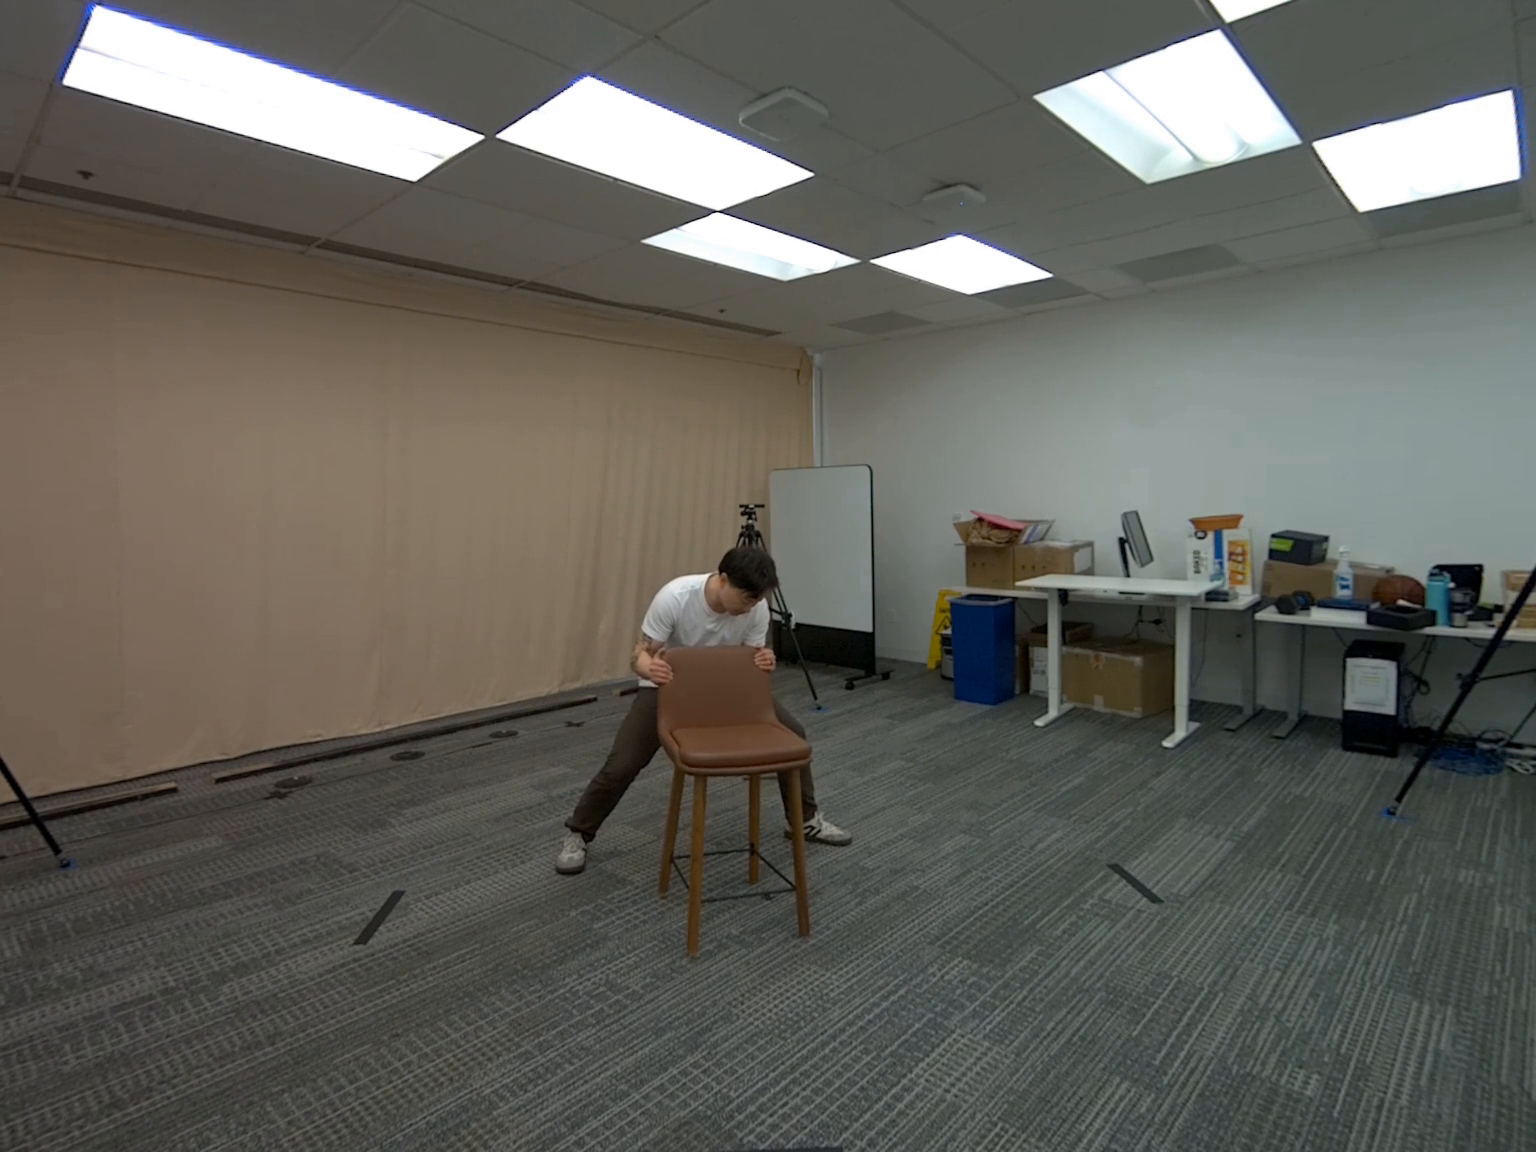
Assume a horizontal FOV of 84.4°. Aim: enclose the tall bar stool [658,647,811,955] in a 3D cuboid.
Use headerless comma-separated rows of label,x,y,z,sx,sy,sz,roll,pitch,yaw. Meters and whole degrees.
tall bar stool,-0.124,0.705,2.847,0.447,0.889,0.477,1,0,-20
